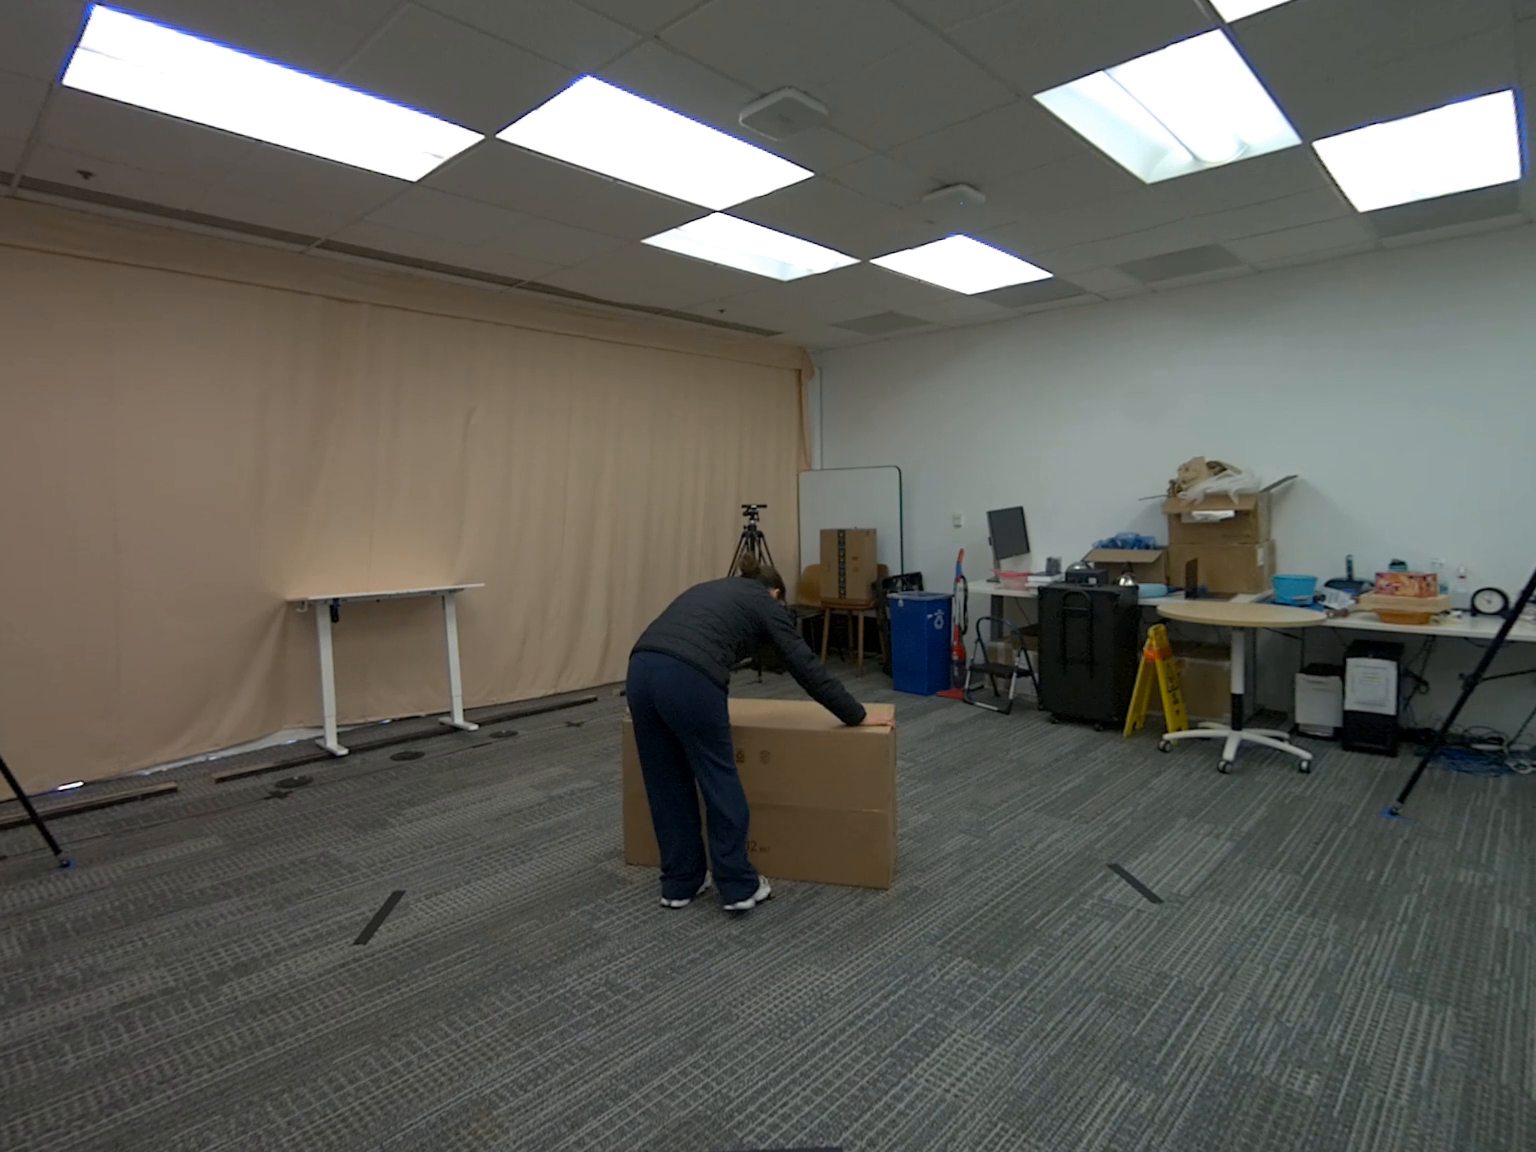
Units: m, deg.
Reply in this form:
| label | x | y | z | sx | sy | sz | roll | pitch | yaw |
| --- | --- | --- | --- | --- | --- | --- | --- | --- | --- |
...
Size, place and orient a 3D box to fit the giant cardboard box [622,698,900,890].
| label | x | y | z | sx | sy | sz | roll | pitch | yaw |
| --- | --- | --- | --- | --- | --- | --- | --- | --- | --- |
| giant cardboard box | -0.010 | 0.822 | 3.344 | 1.044 | 0.582 | 0.441 | 0 | 5 | 15 |
